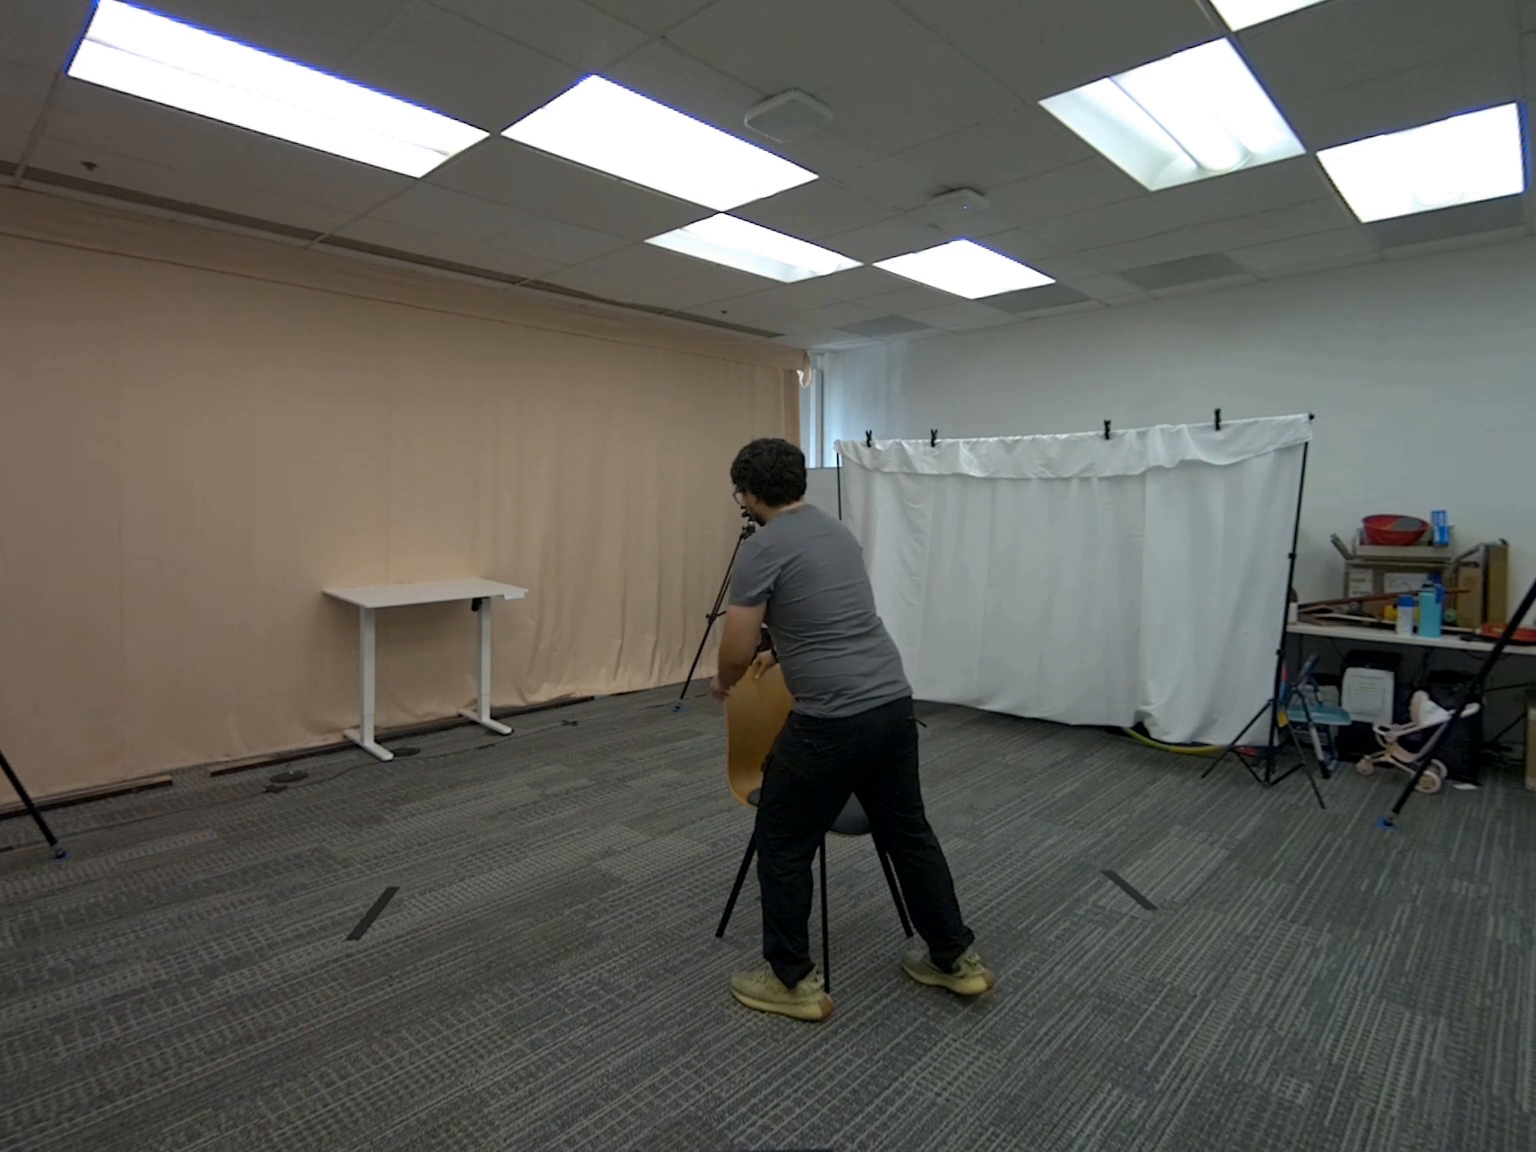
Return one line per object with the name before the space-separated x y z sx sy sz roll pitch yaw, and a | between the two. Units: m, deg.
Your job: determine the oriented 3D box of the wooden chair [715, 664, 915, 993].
wooden chair | 0.155 0.740 2.687 0.540 0.877 0.463 -2 1 43
